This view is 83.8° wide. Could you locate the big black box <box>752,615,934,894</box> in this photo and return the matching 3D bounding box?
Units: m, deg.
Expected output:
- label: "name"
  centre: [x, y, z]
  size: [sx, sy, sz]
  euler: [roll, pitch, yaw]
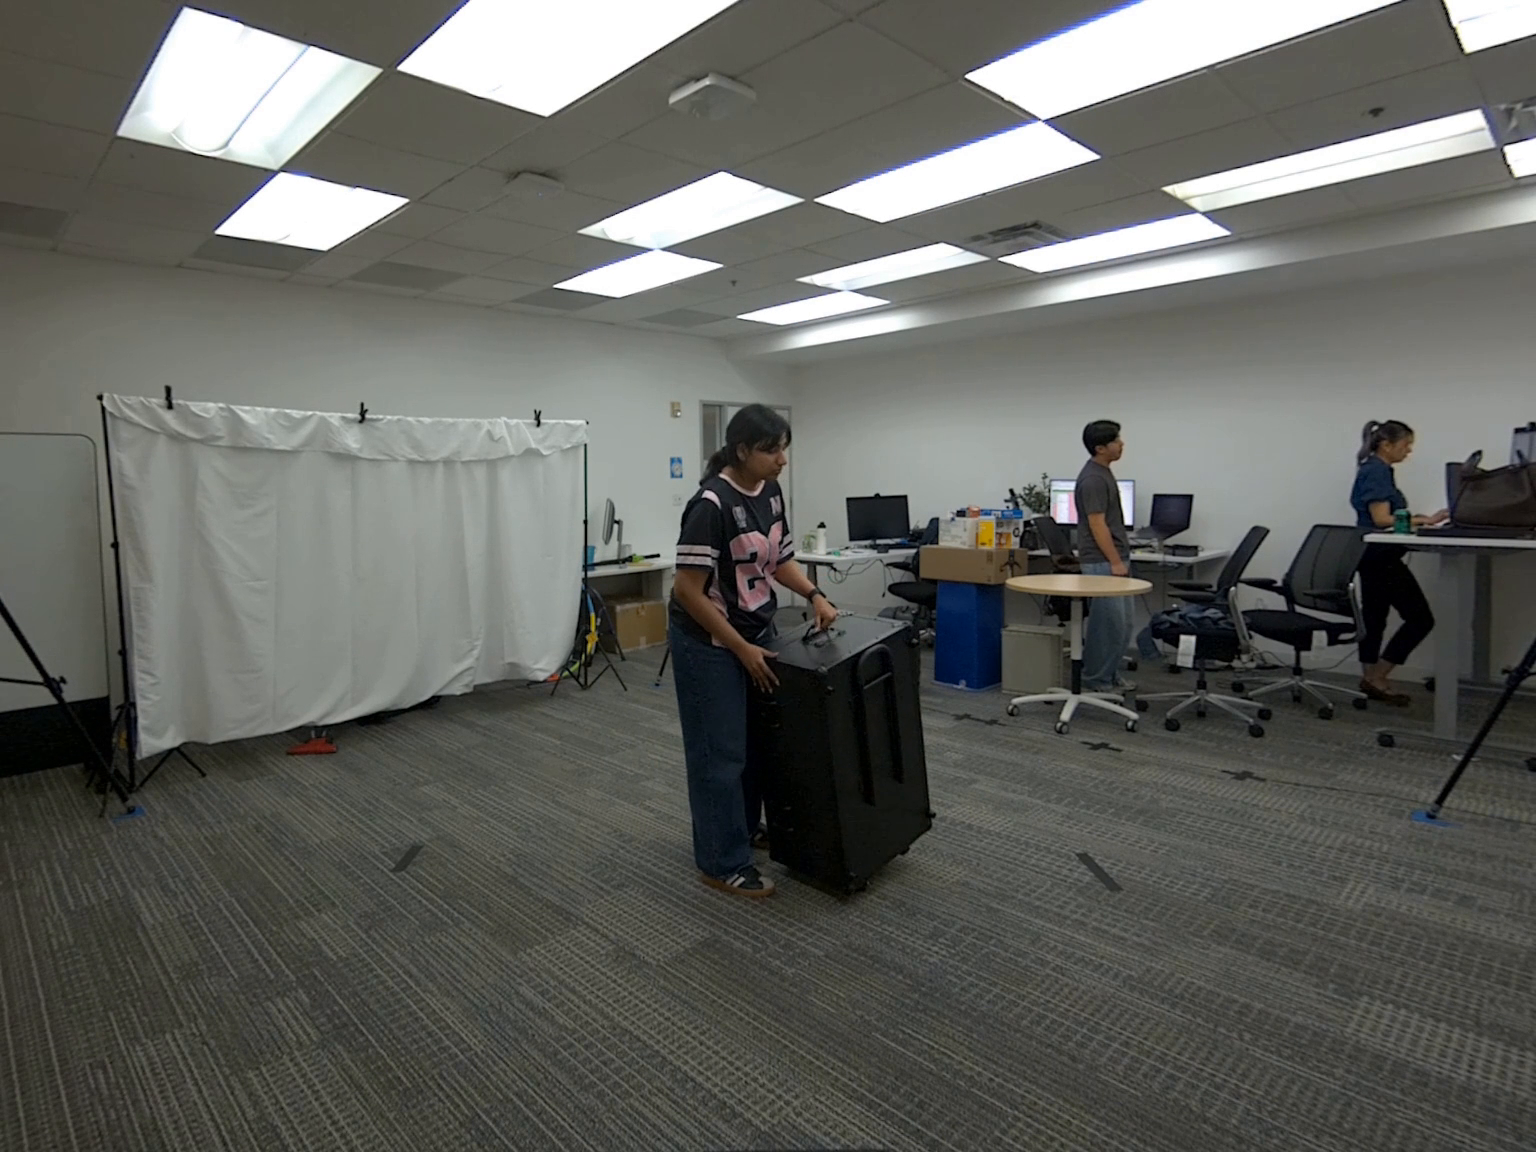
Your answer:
- label: "big black box"
  centre: [0.267, 0.614, 2.976]
  size: [0.397, 0.857, 0.514]
  euler: [6, 18, 44]
